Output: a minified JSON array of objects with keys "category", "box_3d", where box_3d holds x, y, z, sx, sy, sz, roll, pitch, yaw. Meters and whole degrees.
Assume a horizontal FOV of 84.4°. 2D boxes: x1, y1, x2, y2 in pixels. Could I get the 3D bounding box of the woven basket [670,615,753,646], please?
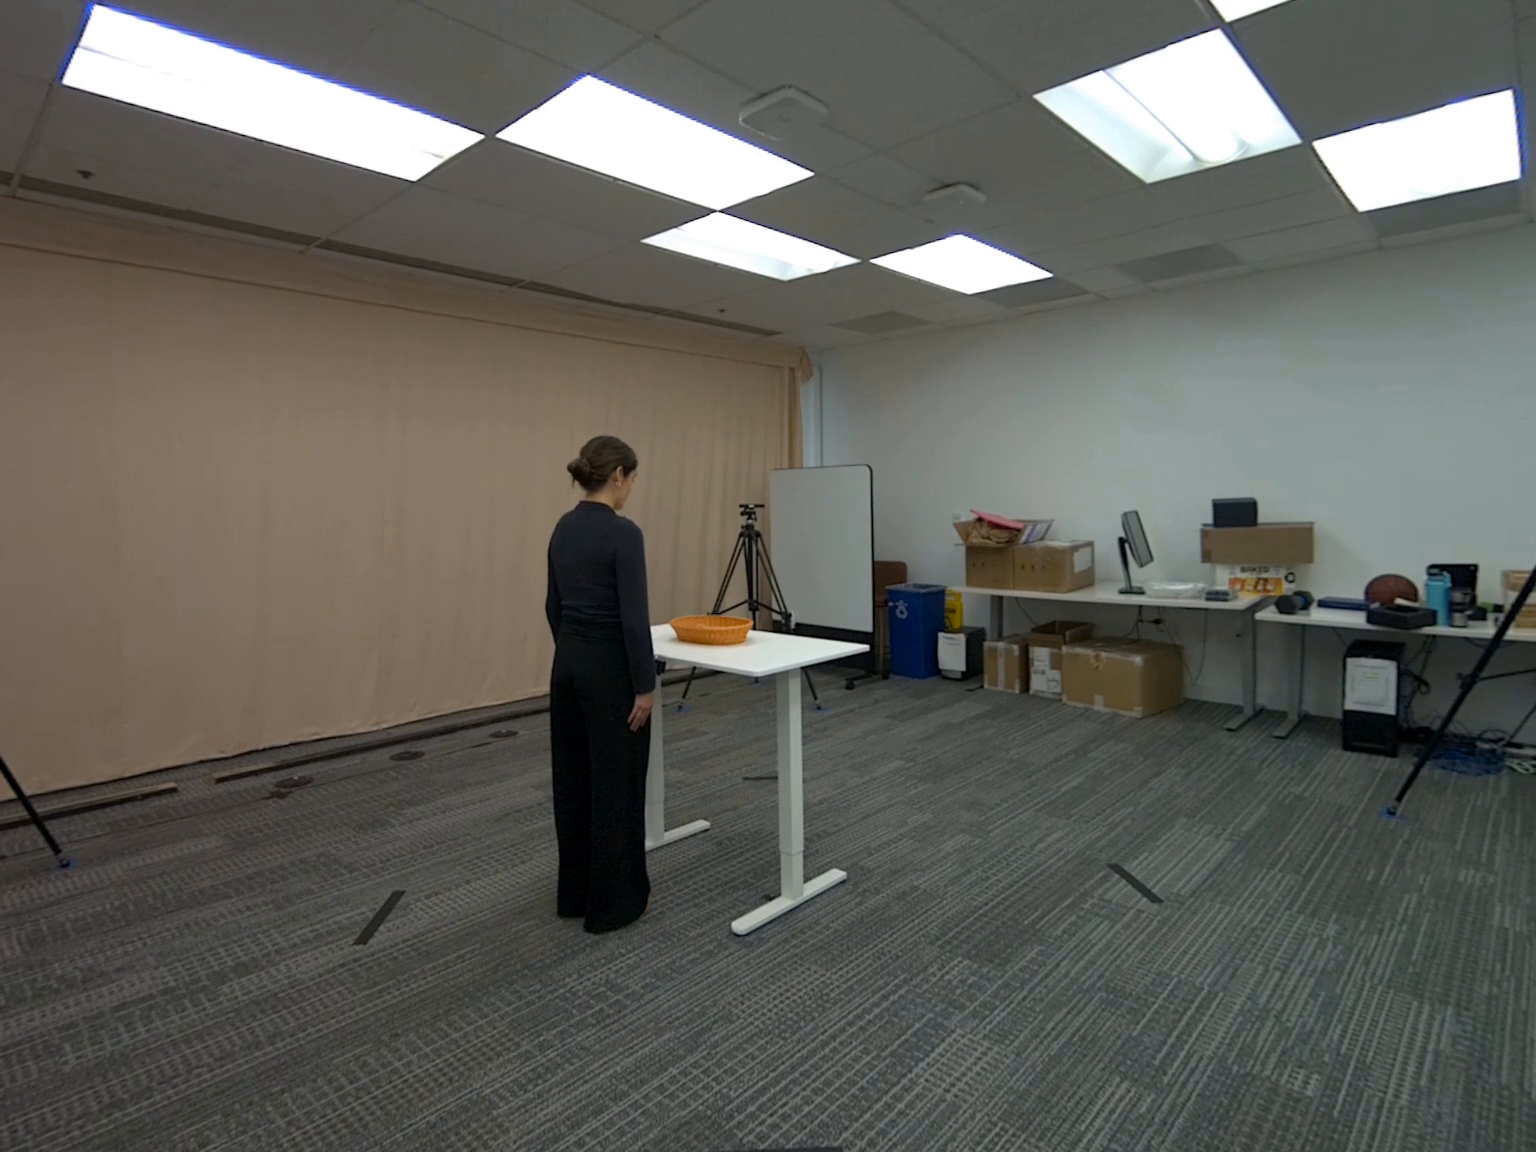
[{"category":"woven basket","box_3d":[-0.221,0.215,3.194,0.362,0.073,0.245,4,7,43]}]
